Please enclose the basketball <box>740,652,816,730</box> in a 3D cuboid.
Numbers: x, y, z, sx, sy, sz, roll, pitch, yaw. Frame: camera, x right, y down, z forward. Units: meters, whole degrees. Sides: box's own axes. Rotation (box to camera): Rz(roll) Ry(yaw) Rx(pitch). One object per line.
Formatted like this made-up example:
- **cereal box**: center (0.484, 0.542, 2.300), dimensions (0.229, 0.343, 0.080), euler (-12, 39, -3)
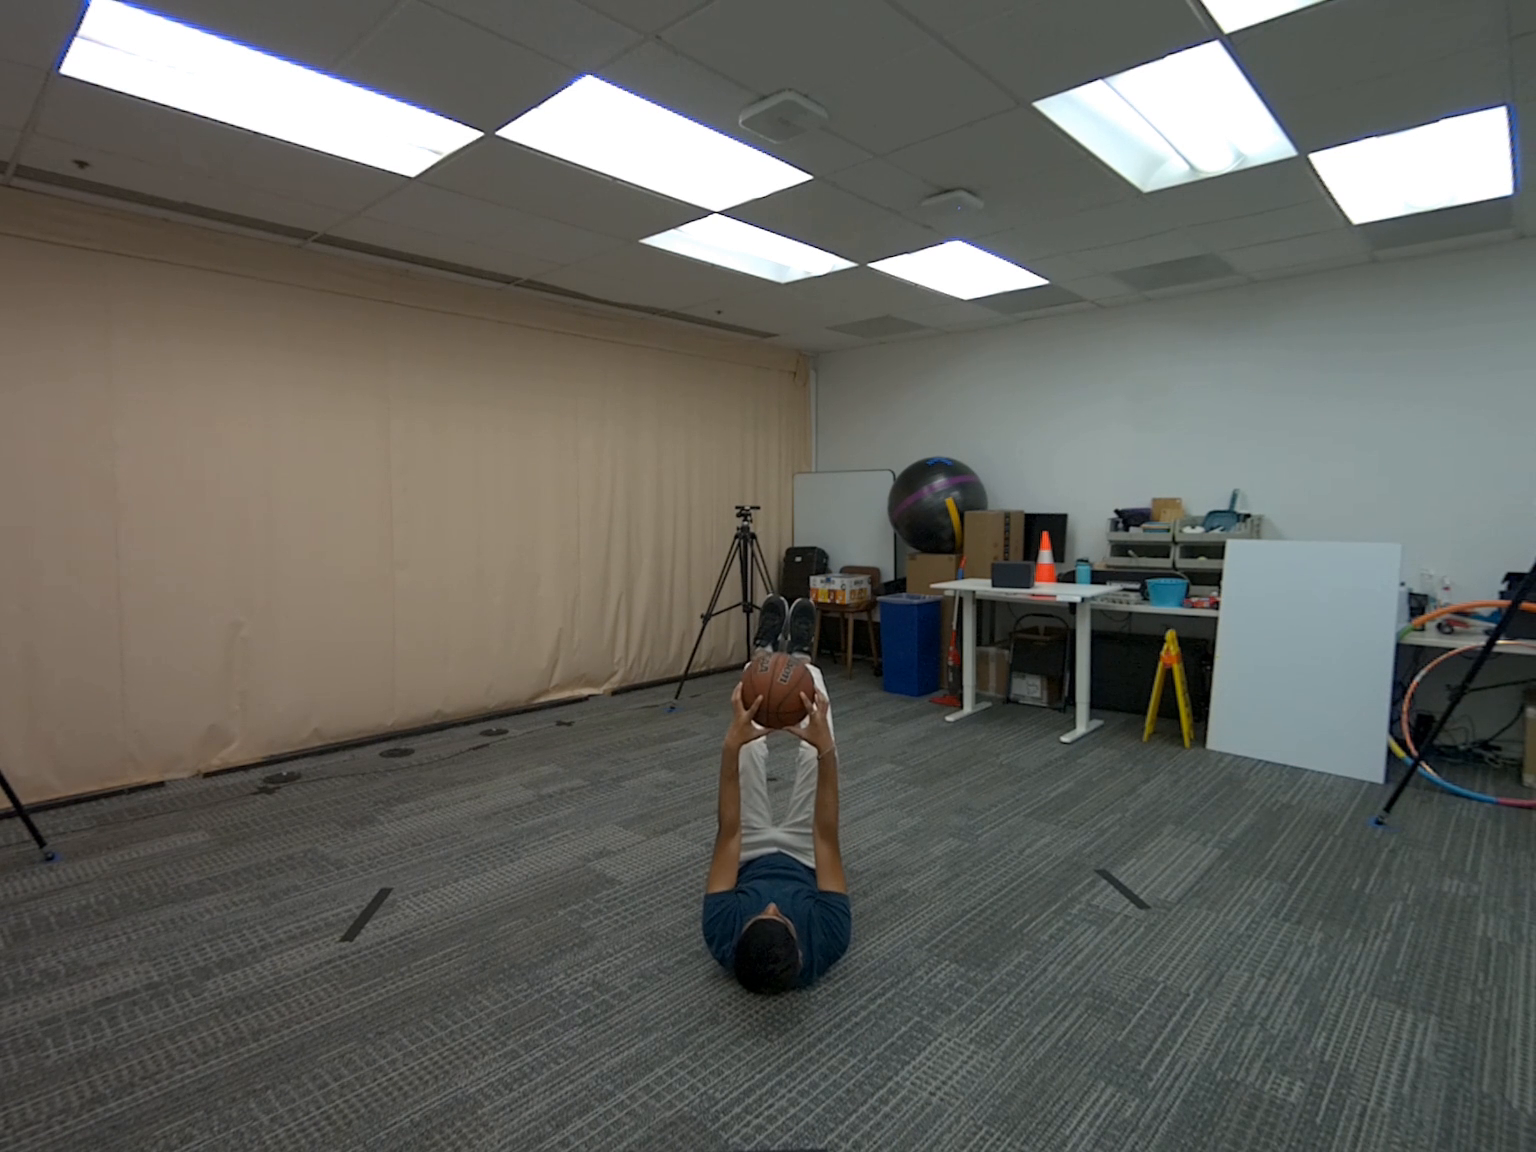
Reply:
- **basketball**: center (0.038, 0.363, 2.626), dimensions (0.236, 0.235, 0.237), euler (0, 4, -2)
